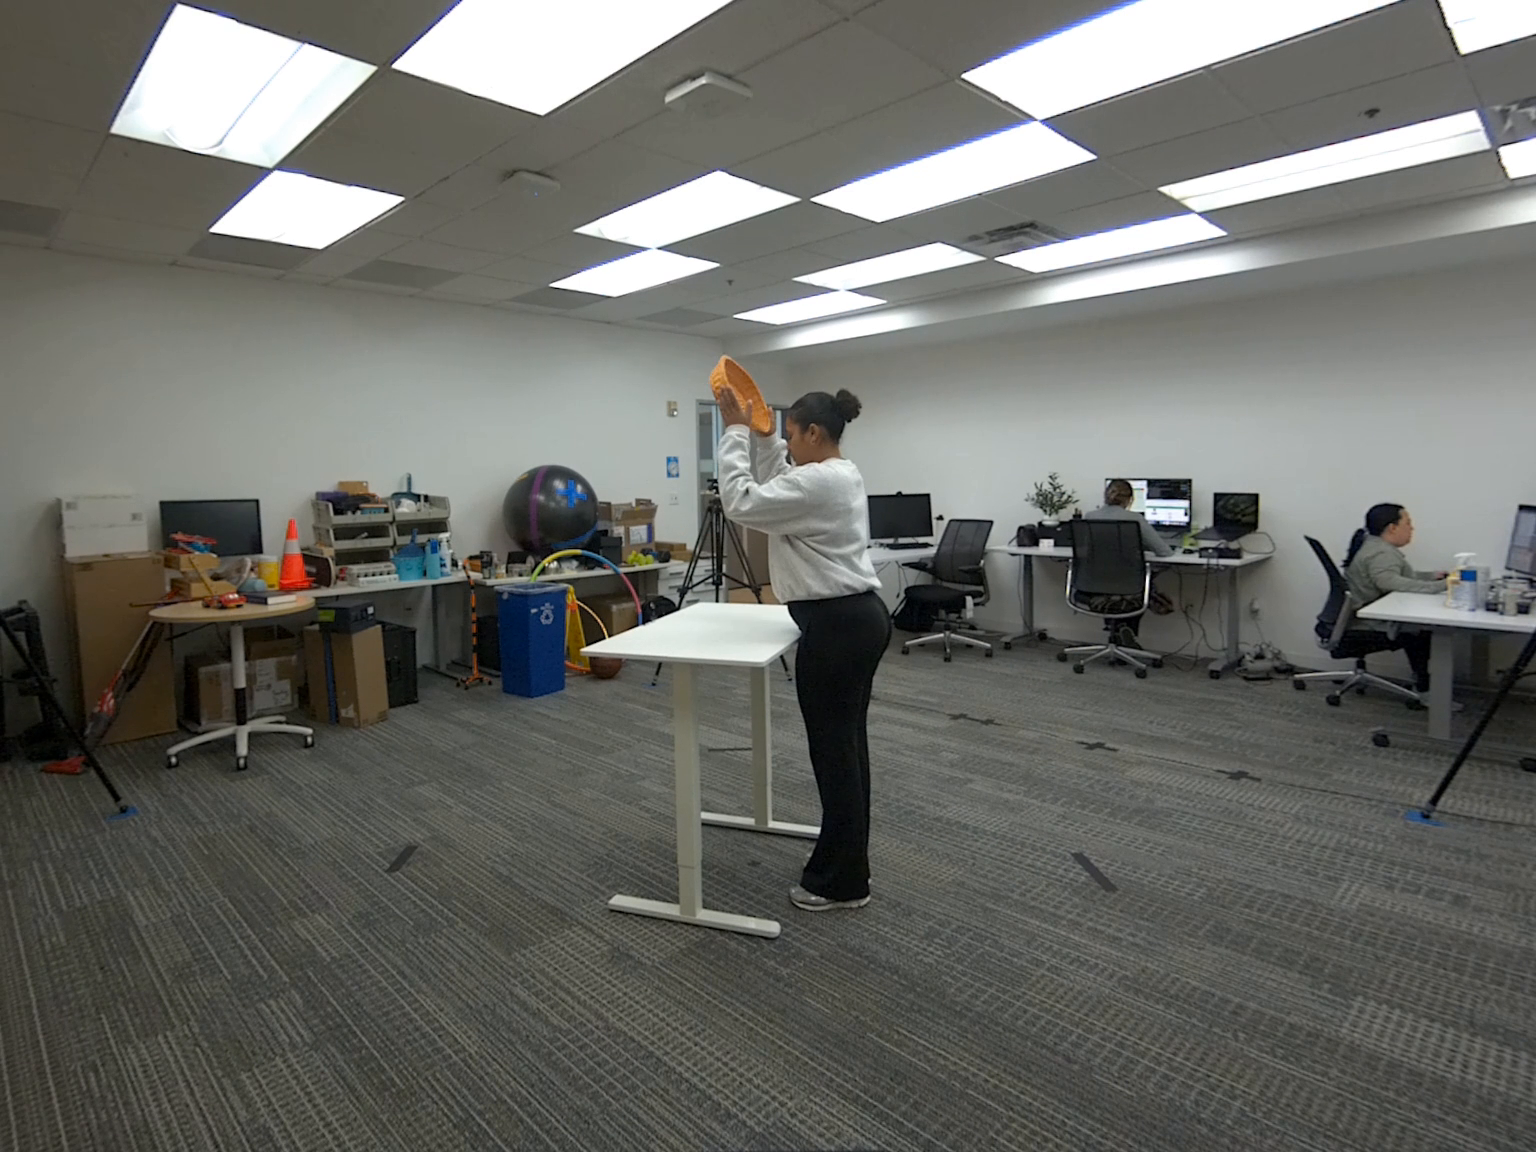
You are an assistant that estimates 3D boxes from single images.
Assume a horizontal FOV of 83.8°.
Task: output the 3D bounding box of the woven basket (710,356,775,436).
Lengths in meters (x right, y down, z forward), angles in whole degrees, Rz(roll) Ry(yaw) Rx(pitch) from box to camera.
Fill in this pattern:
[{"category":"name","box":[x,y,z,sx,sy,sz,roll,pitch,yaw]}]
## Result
[{"category":"woven basket","box":[-0.095,-0.595,2.942,0.074,0.259,0.338,-26,-26,19]}]
